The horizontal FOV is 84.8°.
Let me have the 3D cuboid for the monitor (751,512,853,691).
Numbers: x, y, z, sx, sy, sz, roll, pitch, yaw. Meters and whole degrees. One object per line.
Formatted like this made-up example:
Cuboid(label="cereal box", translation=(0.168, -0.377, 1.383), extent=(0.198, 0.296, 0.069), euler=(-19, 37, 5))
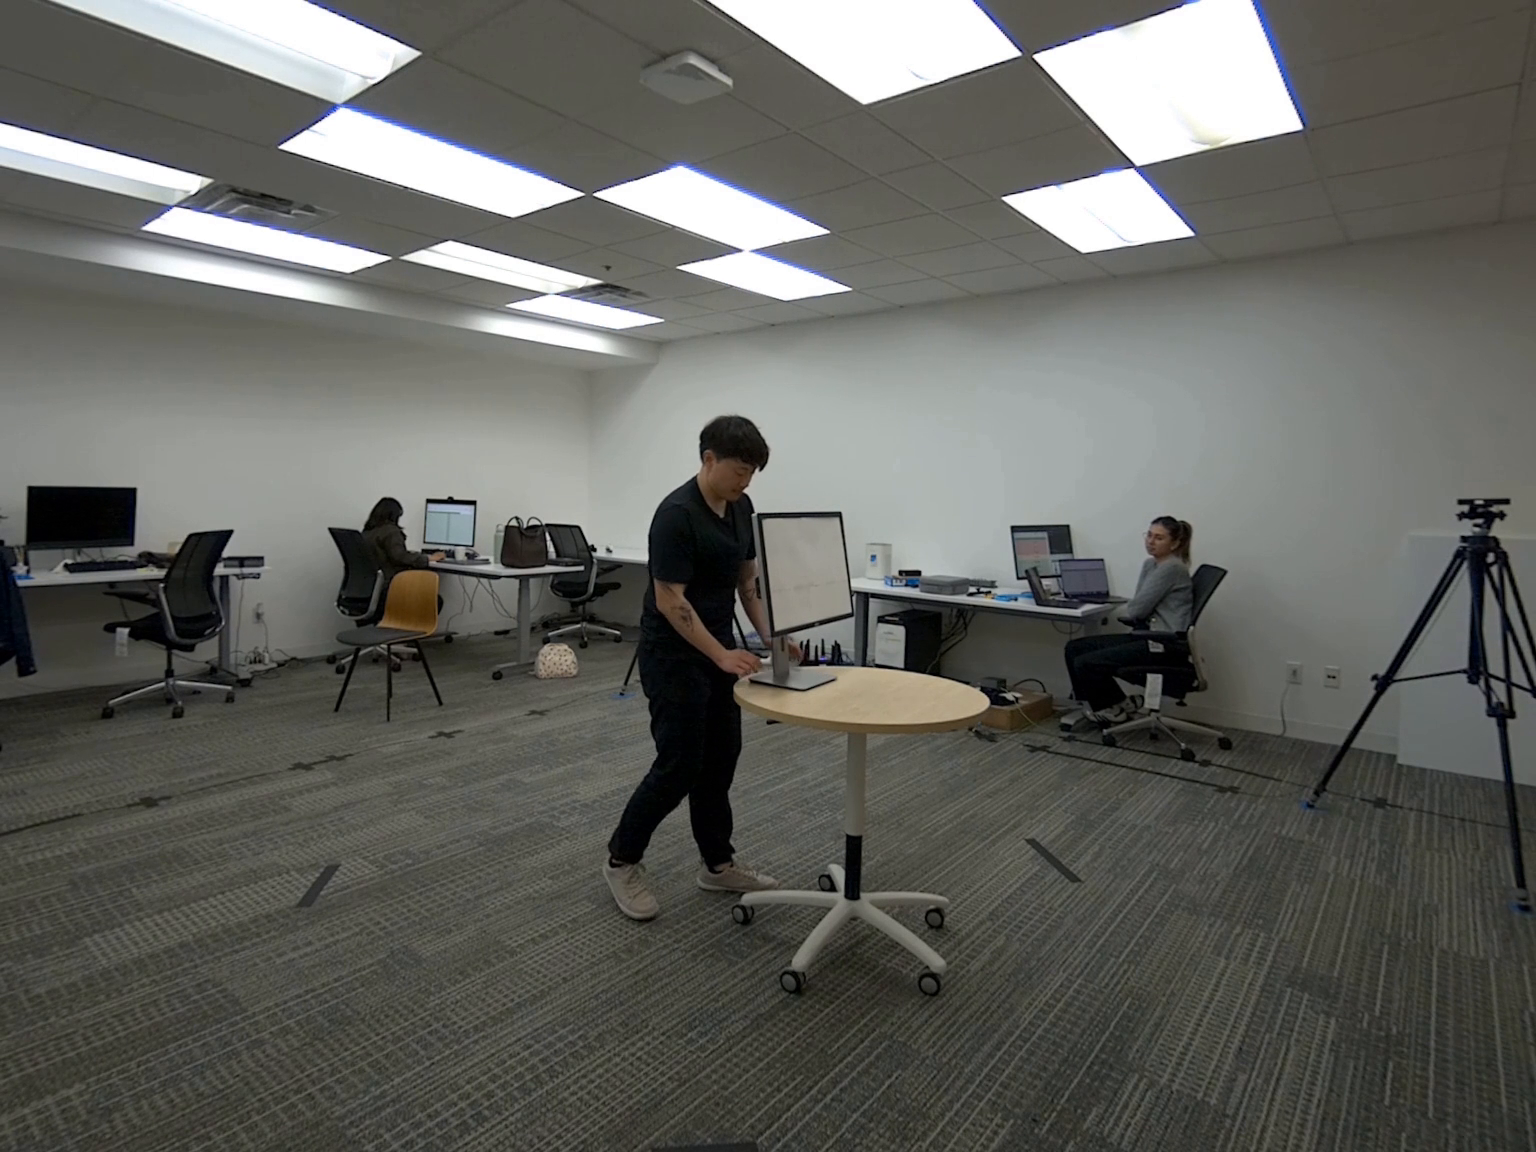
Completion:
Cuboid(label="monitor", translation=(0.085, 0.068, 2.713), extent=(0.193, 0.521, 0.525), euler=(5, 5, 31))
